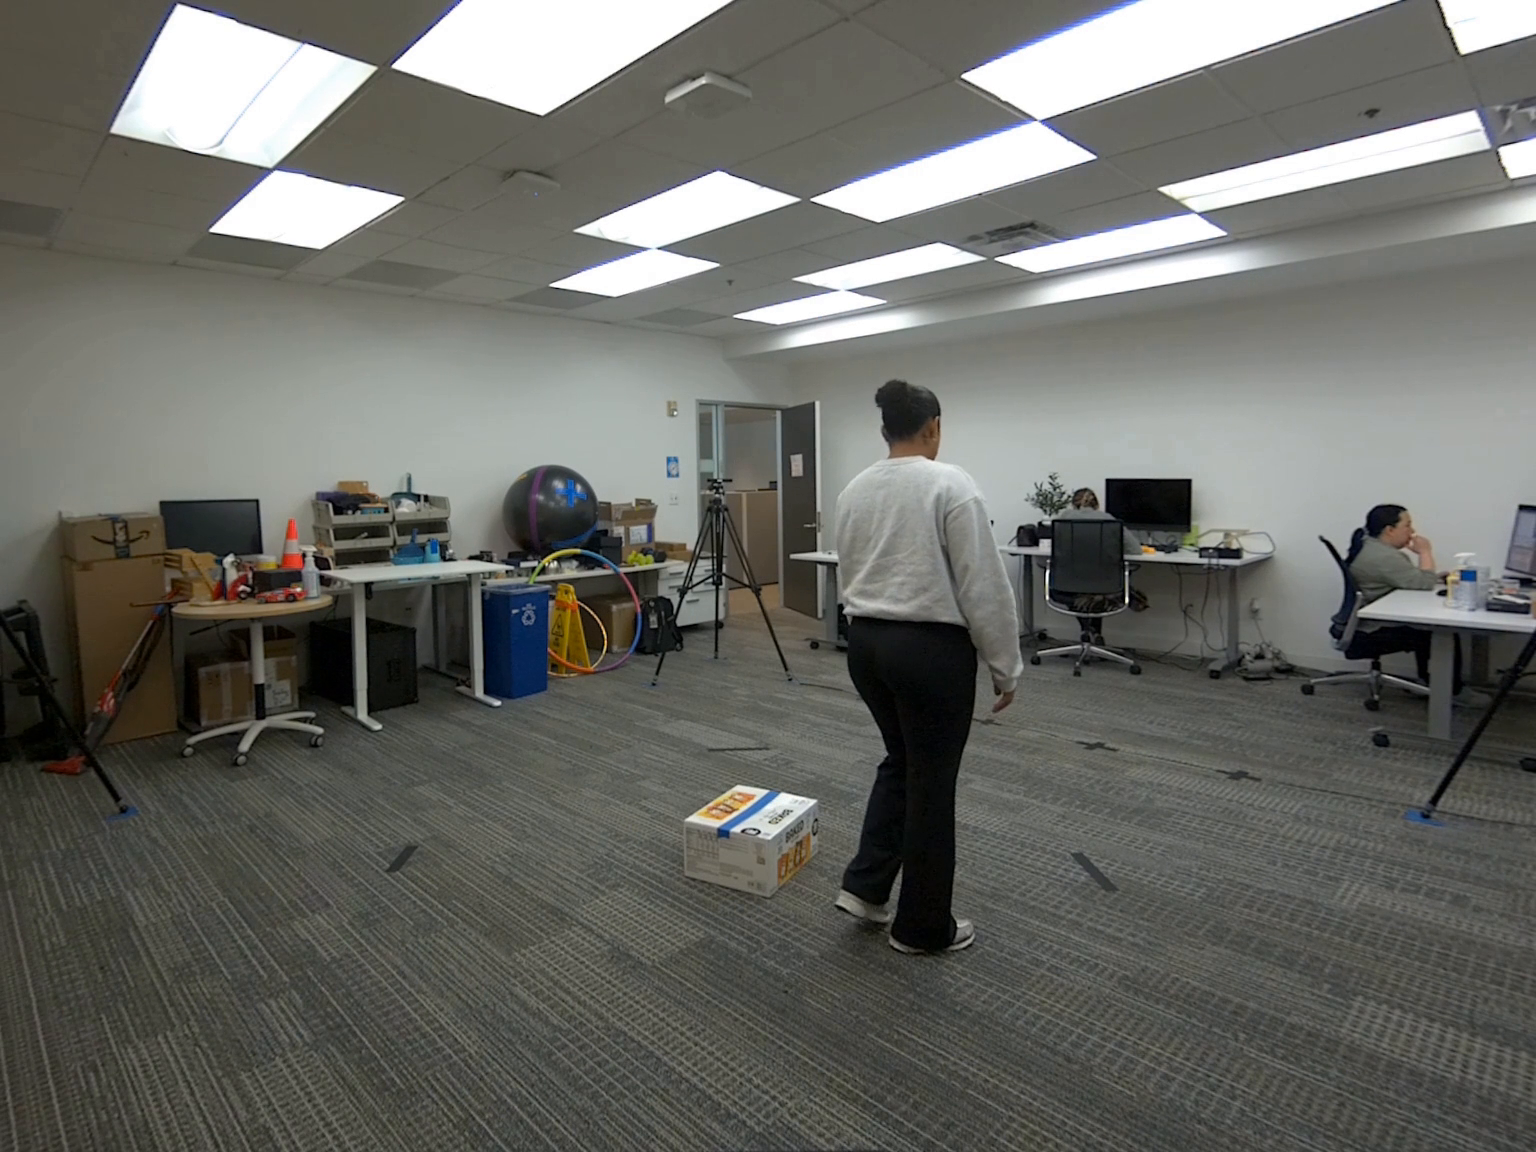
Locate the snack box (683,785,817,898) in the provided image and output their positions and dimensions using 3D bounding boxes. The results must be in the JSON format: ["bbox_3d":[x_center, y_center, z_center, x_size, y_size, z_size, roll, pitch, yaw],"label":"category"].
[{"bbox_3d":[-0.053,0.945,3.091,0.349,0.205,0.397,2,6,28],"label":"snack box"}]
